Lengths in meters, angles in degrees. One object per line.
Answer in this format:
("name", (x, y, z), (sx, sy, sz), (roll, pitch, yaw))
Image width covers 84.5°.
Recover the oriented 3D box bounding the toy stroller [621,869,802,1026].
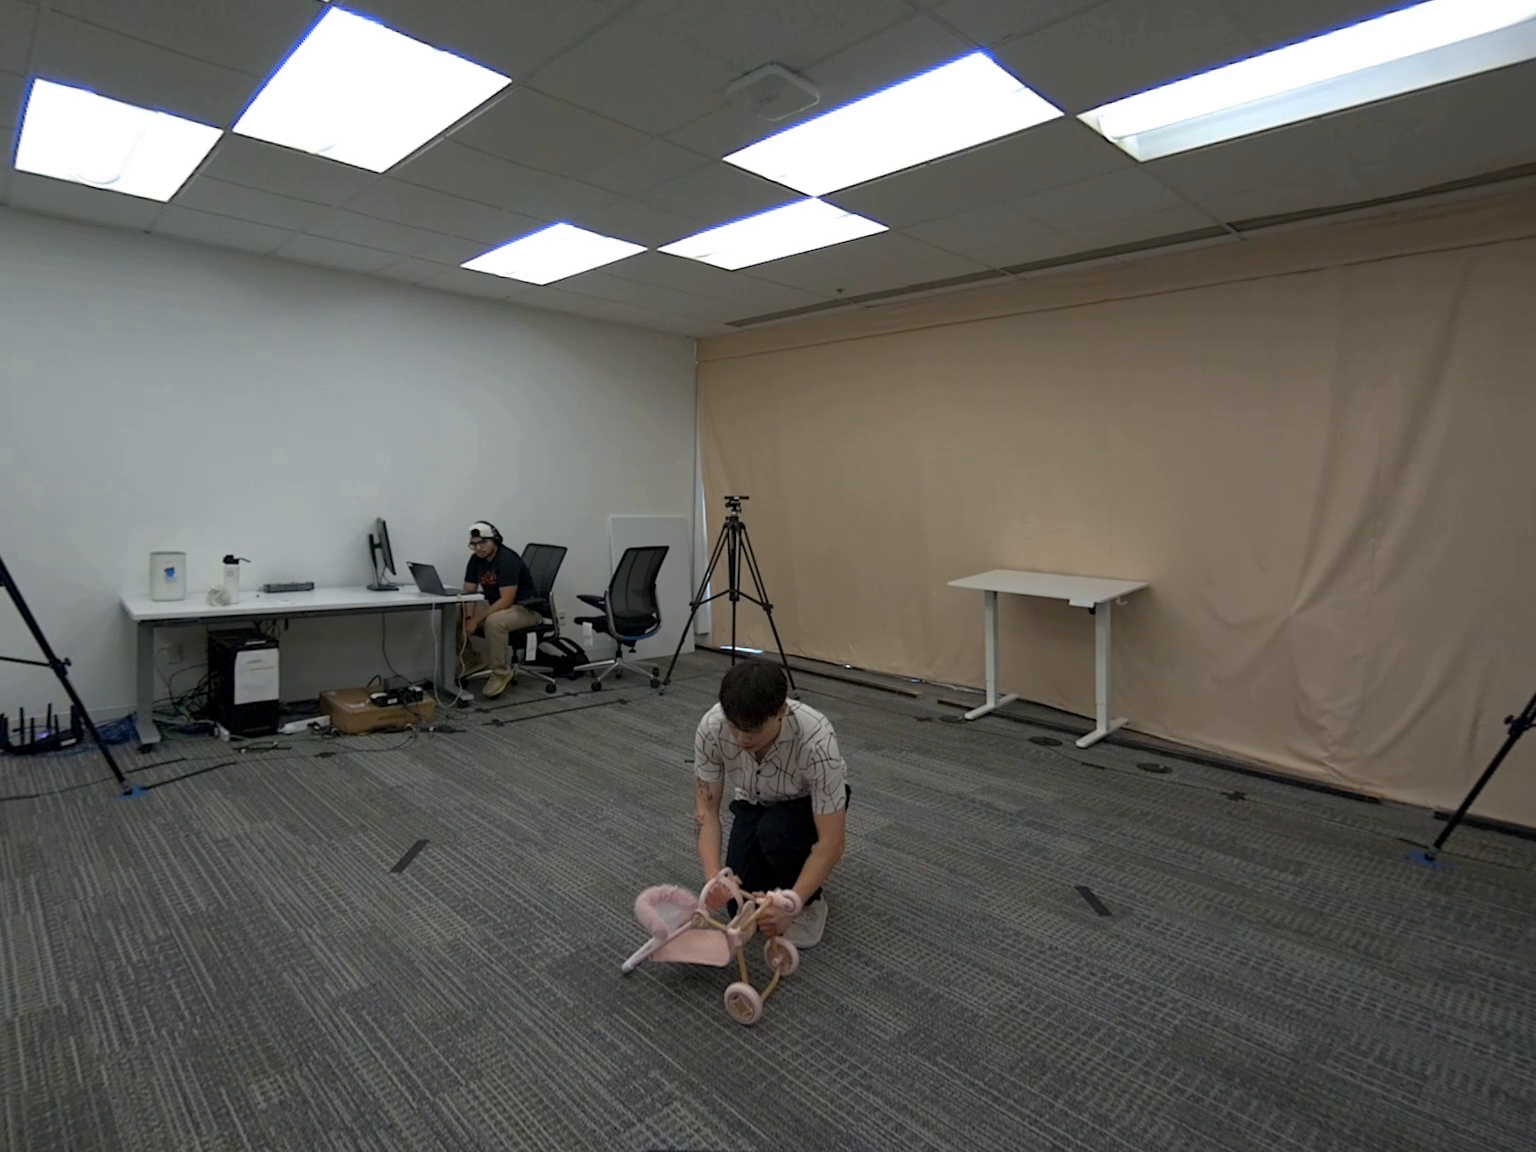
("toy stroller", (-0.161, 1.005, 2.377), (0.546, 0.339, 0.277), (4, 11, 28))
